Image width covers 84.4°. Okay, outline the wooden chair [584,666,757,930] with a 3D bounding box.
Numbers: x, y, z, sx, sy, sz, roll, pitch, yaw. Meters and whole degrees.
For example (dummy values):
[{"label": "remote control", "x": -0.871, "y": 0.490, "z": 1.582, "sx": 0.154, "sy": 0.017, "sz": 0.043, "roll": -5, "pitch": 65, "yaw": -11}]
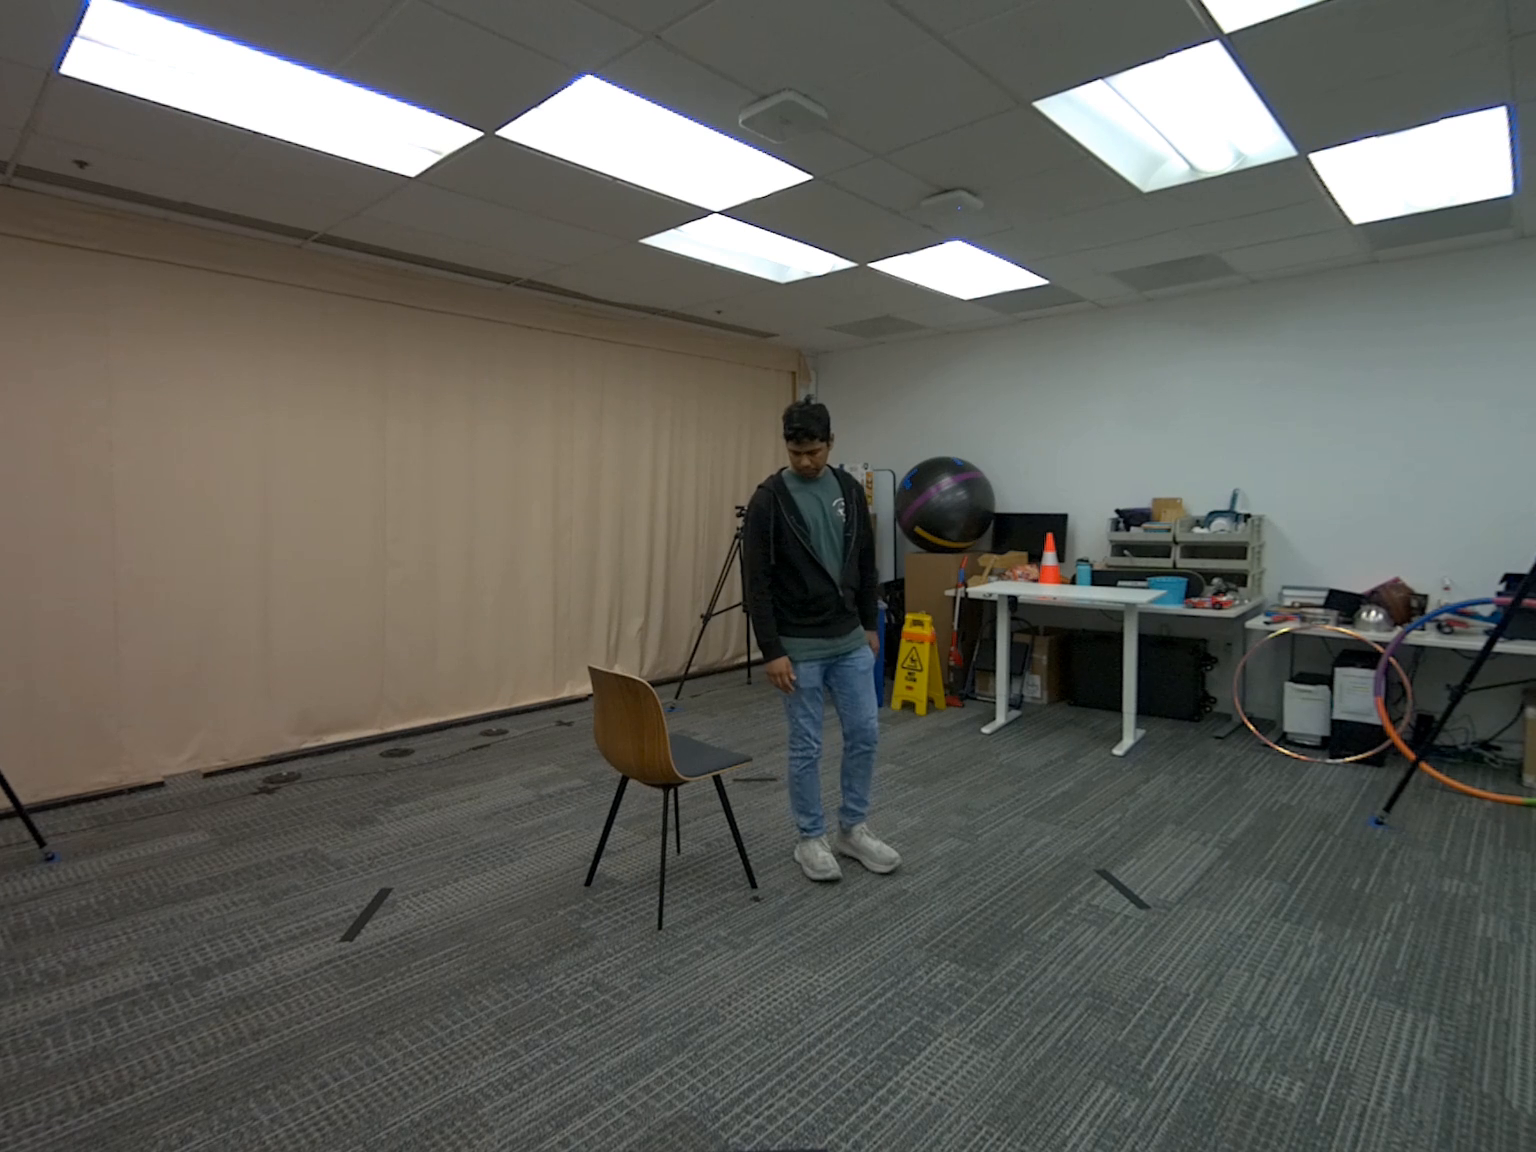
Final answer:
[{"label": "wooden chair", "x": -0.346, "y": 0.714, "z": 3.051, "sx": 0.508, "sy": 0.874, "sz": 0.494, "roll": -9, "pitch": 8, "yaw": -43}]
